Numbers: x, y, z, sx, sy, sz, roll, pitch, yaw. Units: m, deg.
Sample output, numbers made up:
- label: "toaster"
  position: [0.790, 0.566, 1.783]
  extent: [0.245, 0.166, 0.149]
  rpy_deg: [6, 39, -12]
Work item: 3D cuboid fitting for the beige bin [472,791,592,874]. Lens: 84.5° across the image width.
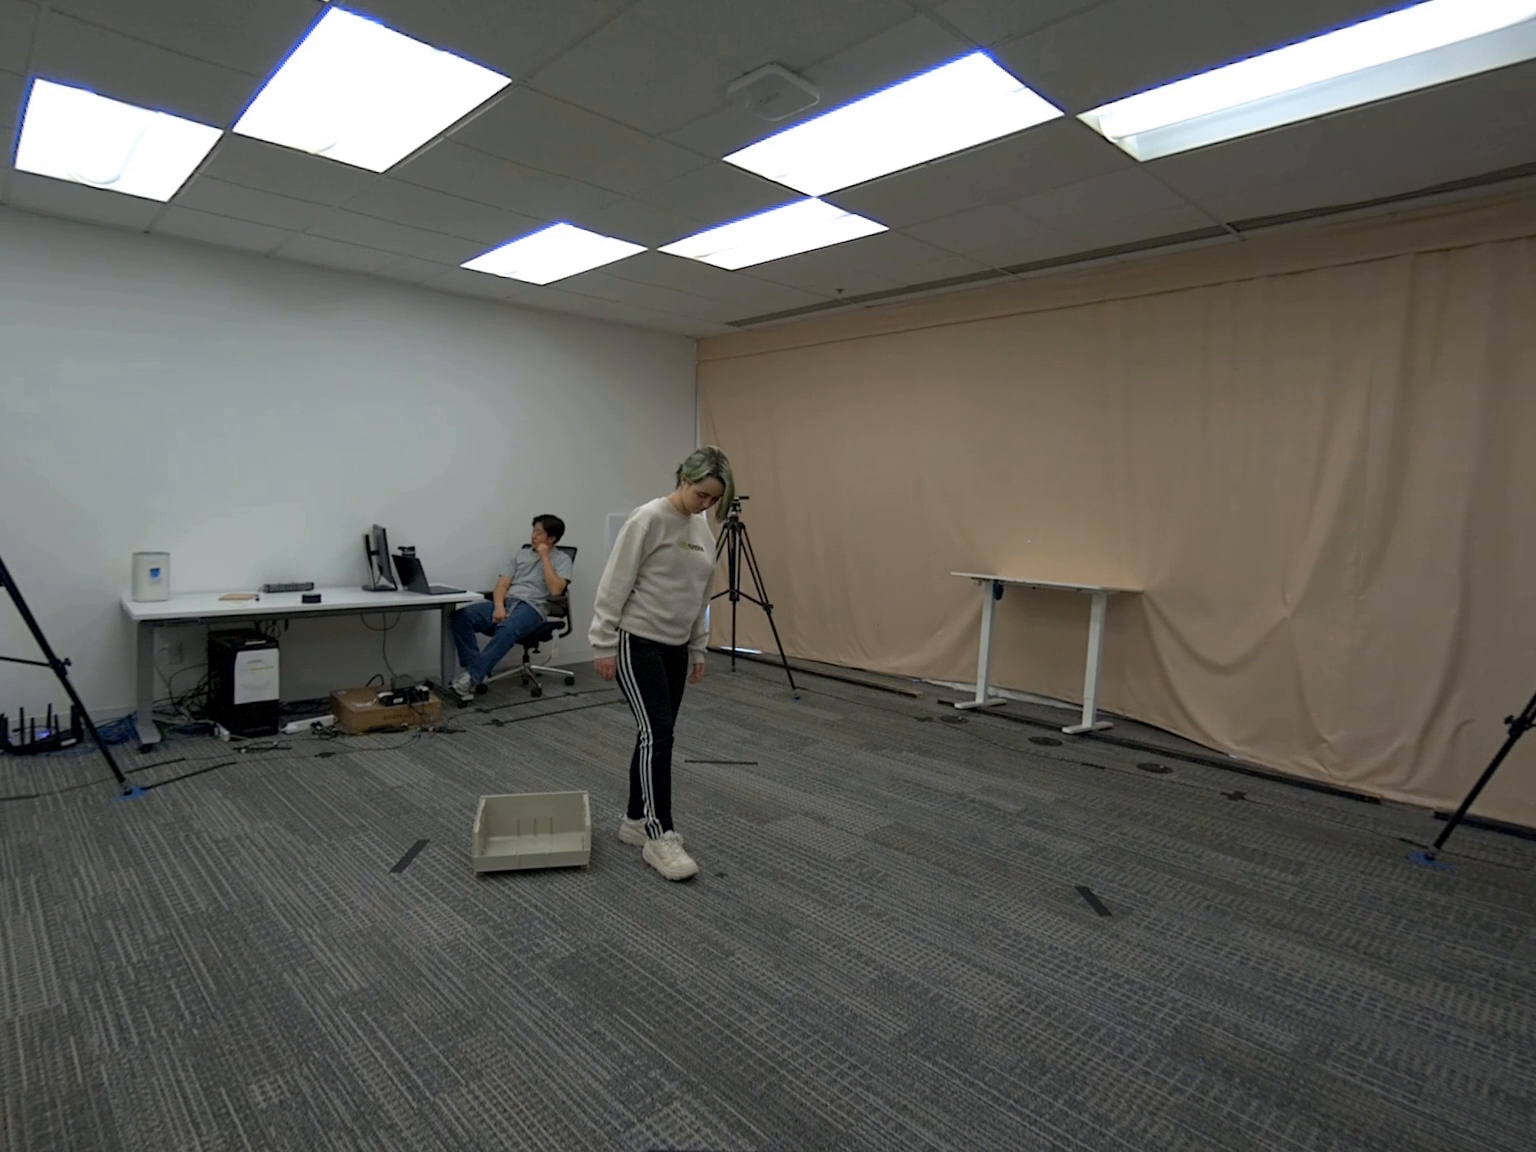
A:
- label: "beige bin"
  position: [-0.898, 0.984, 3.219]
  extent: [0.418, 0.188, 0.382]
  rpy_deg: [-1, 5, -13]
